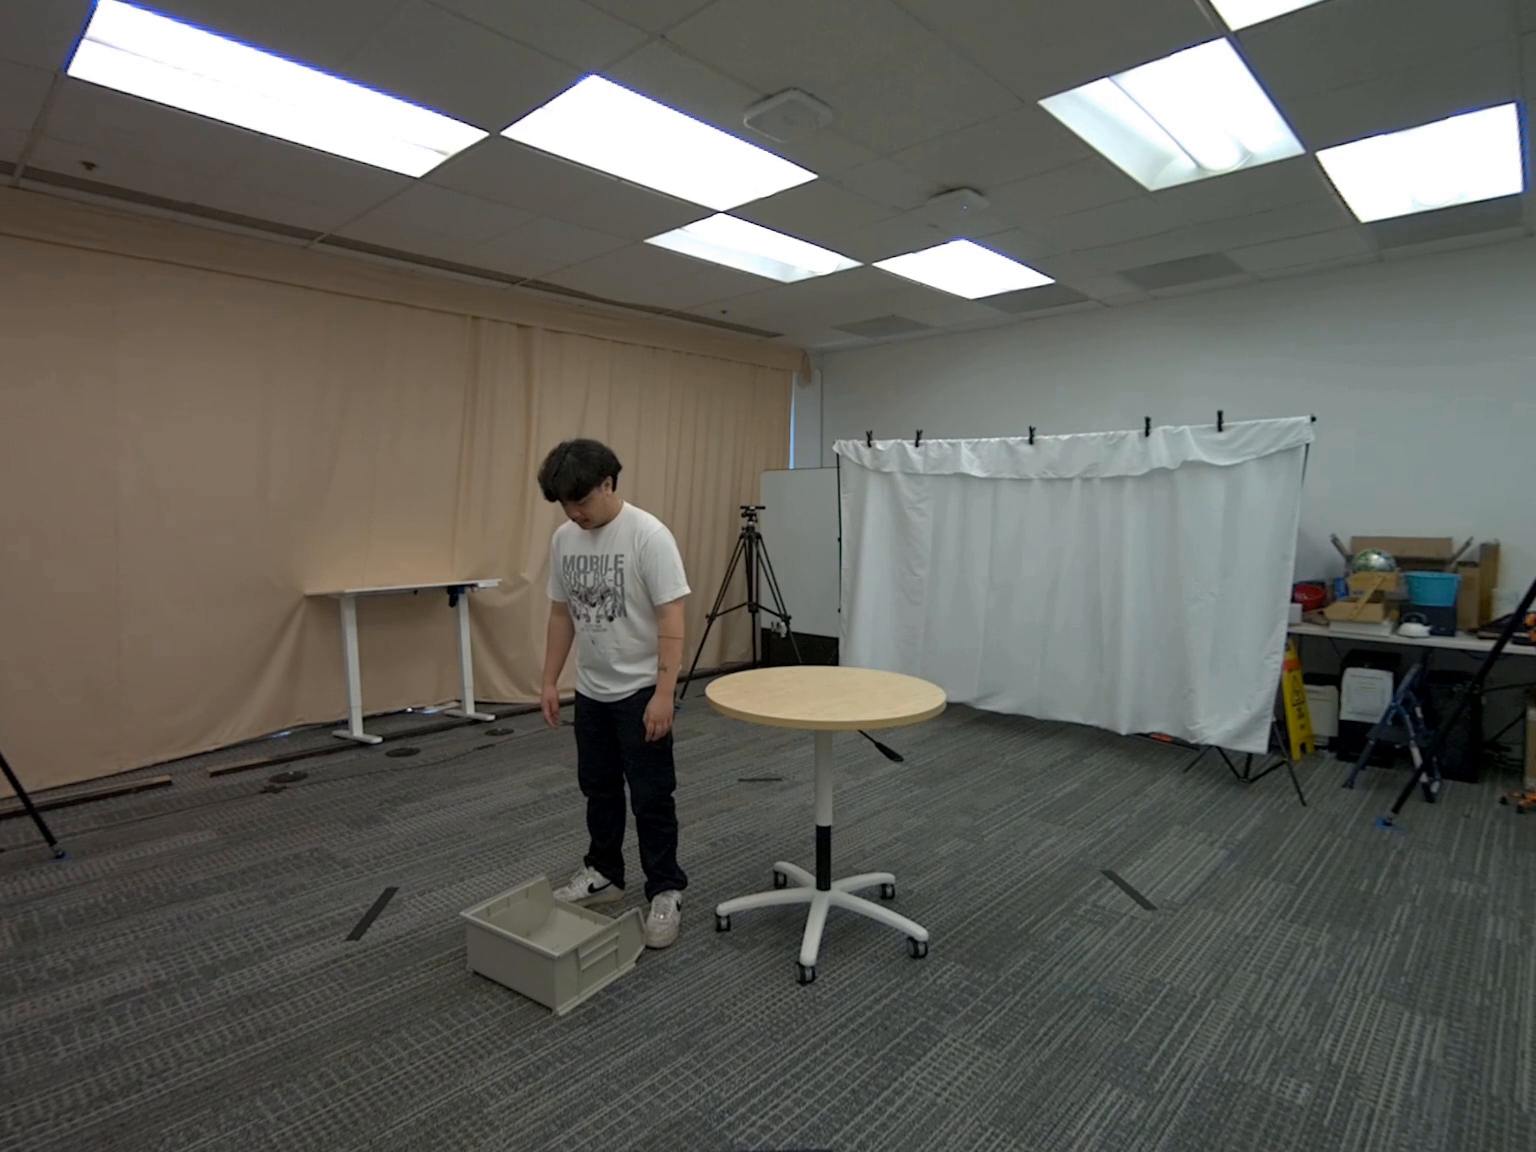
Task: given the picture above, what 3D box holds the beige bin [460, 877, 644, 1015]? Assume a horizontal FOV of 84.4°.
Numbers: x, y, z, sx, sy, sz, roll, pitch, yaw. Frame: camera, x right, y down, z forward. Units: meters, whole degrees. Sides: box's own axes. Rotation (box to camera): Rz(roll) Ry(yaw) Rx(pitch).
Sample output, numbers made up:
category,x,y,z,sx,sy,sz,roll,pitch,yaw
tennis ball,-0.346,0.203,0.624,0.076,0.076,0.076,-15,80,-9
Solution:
category,x,y,z,sx,sy,sz,roll,pitch,yaw
beige bin,-0.642,1.091,2.560,0.435,0.188,0.367,3,6,34
